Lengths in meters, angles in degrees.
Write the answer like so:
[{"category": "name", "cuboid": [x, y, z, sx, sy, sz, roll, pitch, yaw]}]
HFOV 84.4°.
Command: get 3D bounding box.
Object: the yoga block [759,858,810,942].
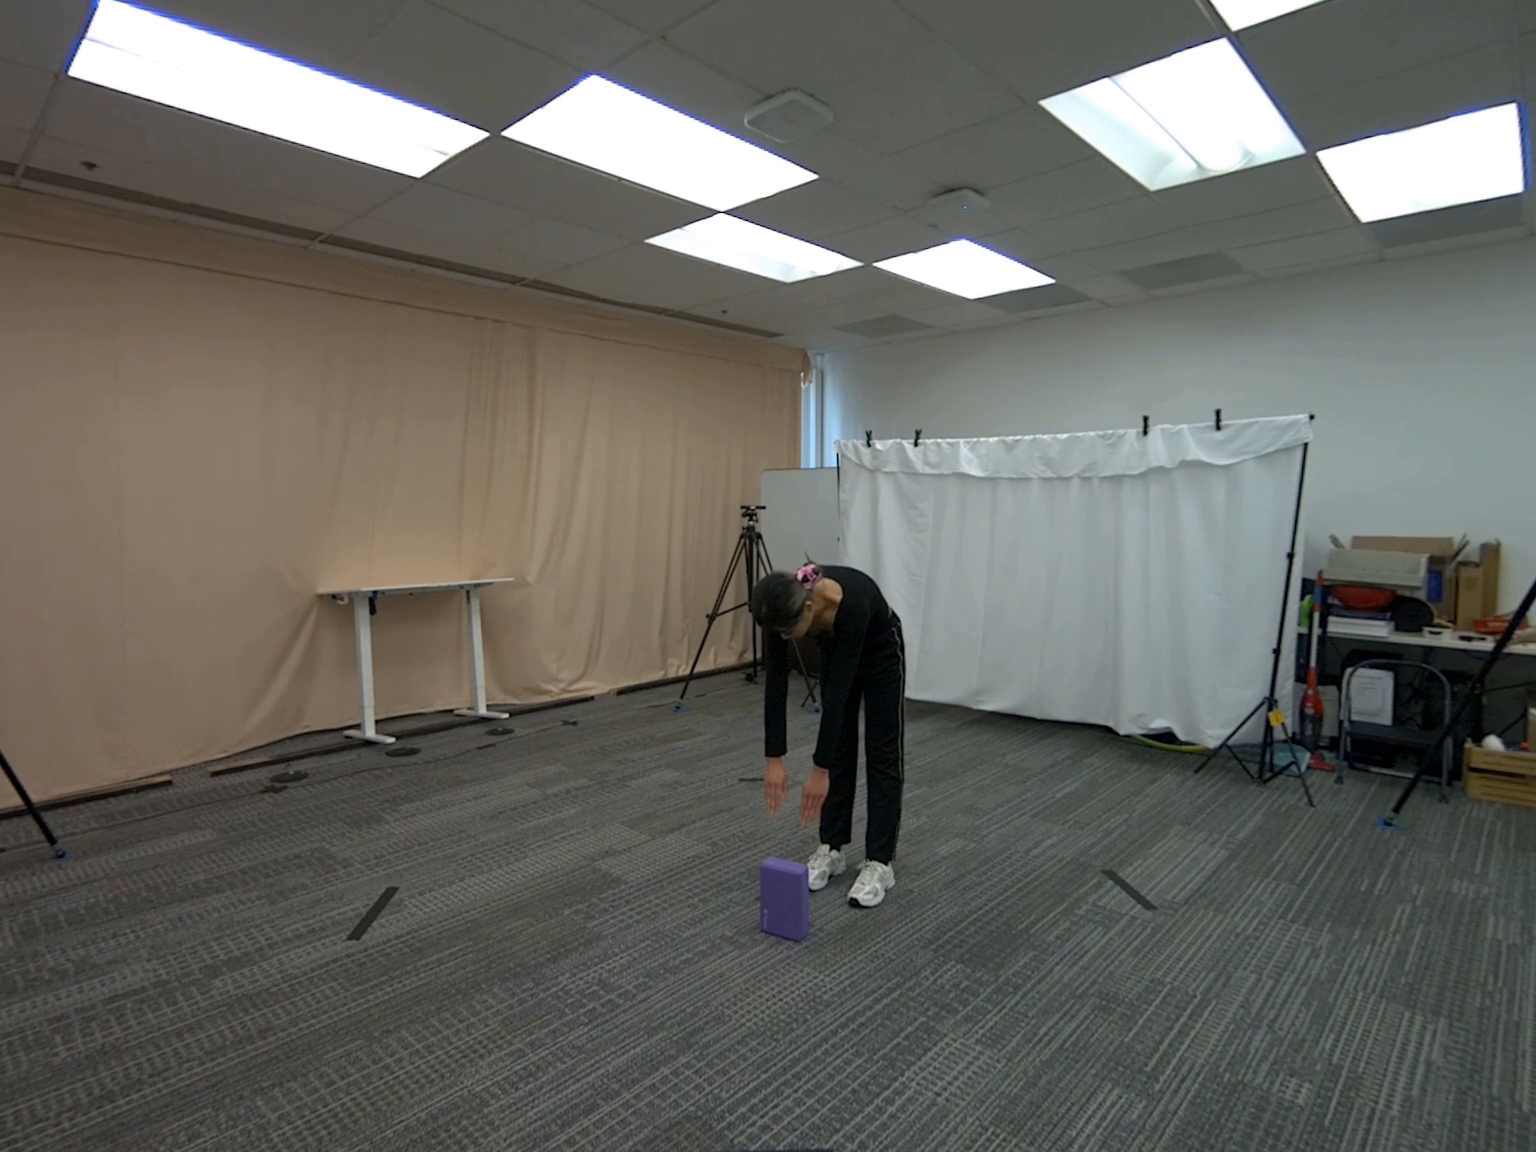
[{"category": "yoga block", "cuboid": [0.057, 1.049, 2.737, 0.153, 0.229, 0.074, 2, 4, 27]}]
